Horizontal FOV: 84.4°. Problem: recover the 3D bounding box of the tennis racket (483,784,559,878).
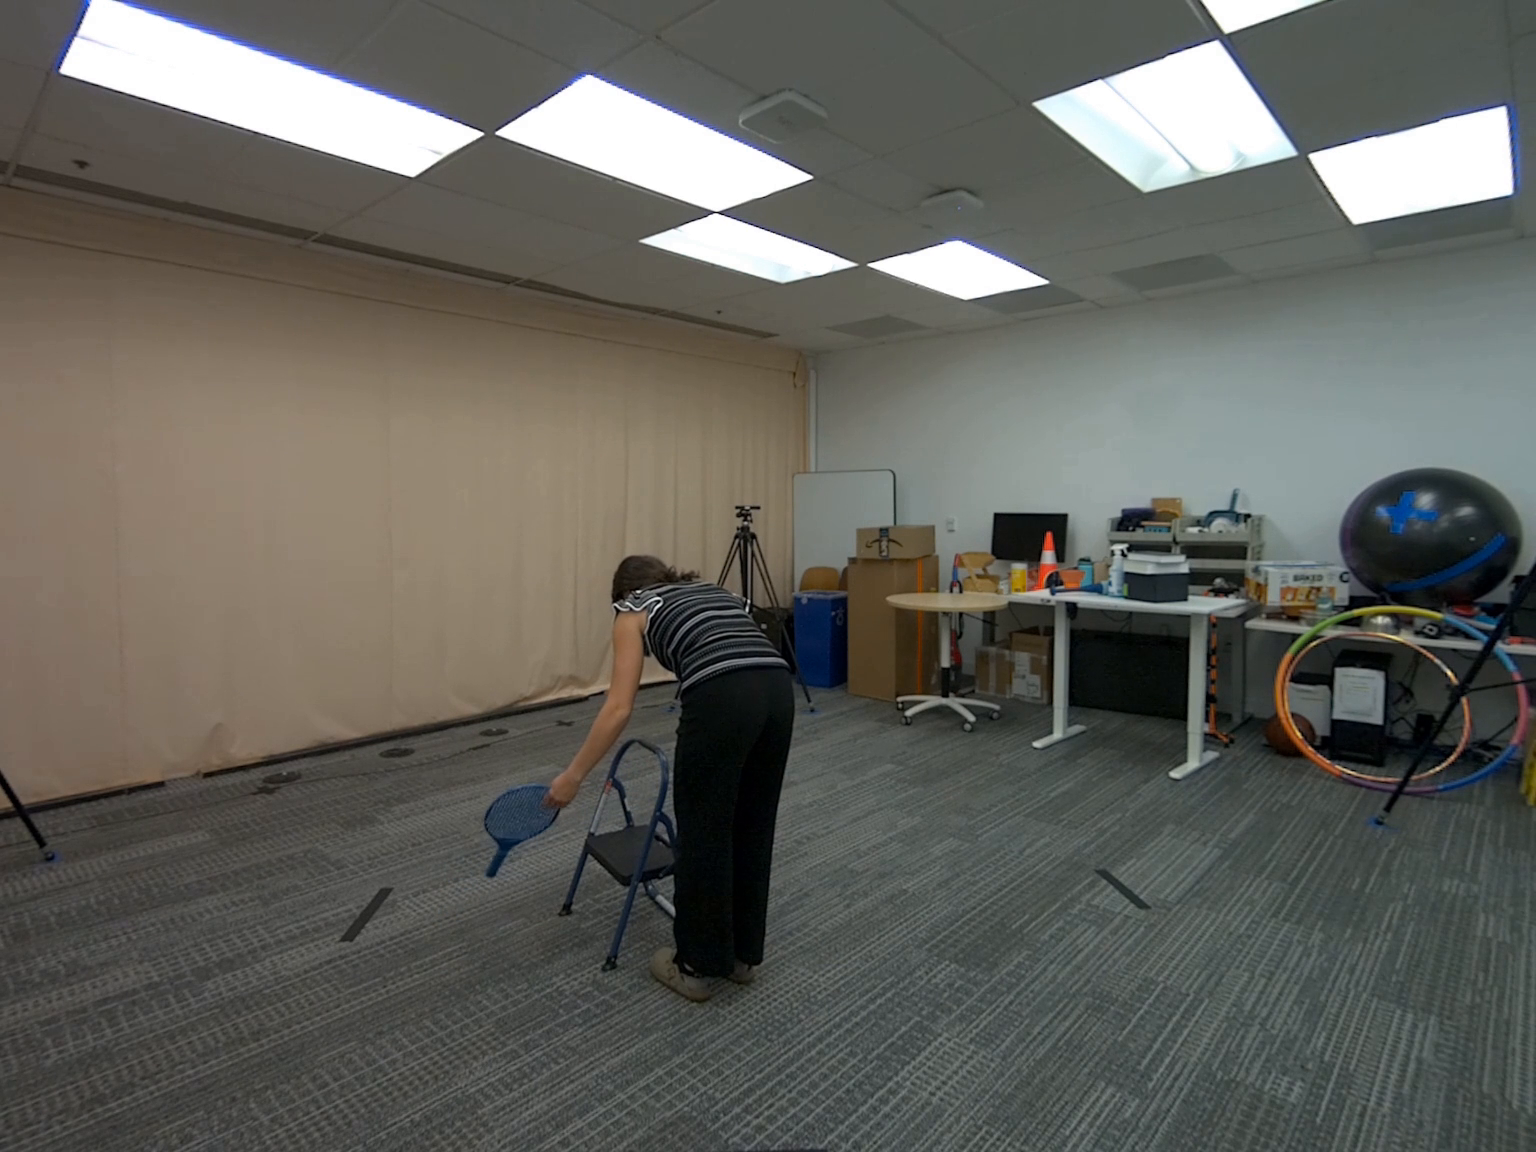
[{"bbox_3d":[-0.734,0.757,2.497,0.208,0.431,0.032,11,33,-23],"label":"tennis racket"}]
